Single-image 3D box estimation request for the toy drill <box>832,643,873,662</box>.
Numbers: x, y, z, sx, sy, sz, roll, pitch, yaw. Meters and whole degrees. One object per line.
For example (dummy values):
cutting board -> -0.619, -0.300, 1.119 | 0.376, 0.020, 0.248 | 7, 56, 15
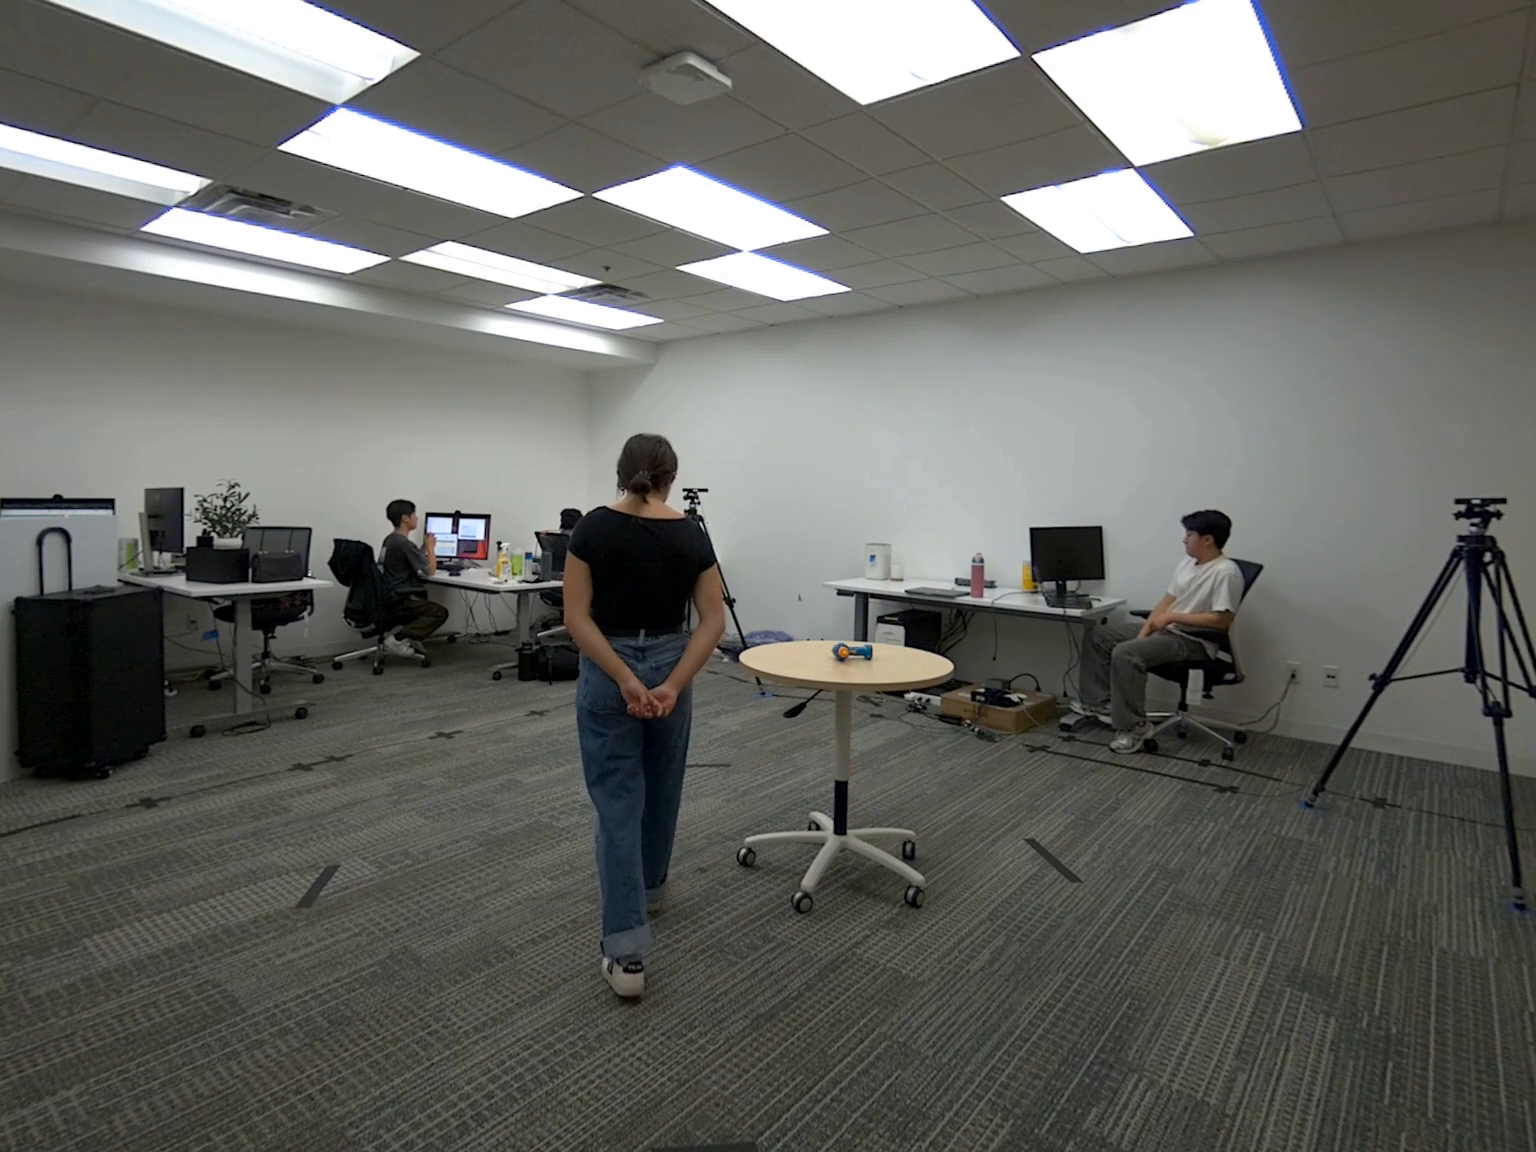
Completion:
toy drill -> 0.311, 0.265, 3.057 | 0.146, 0.061, 0.169 | 2, -4, -1
